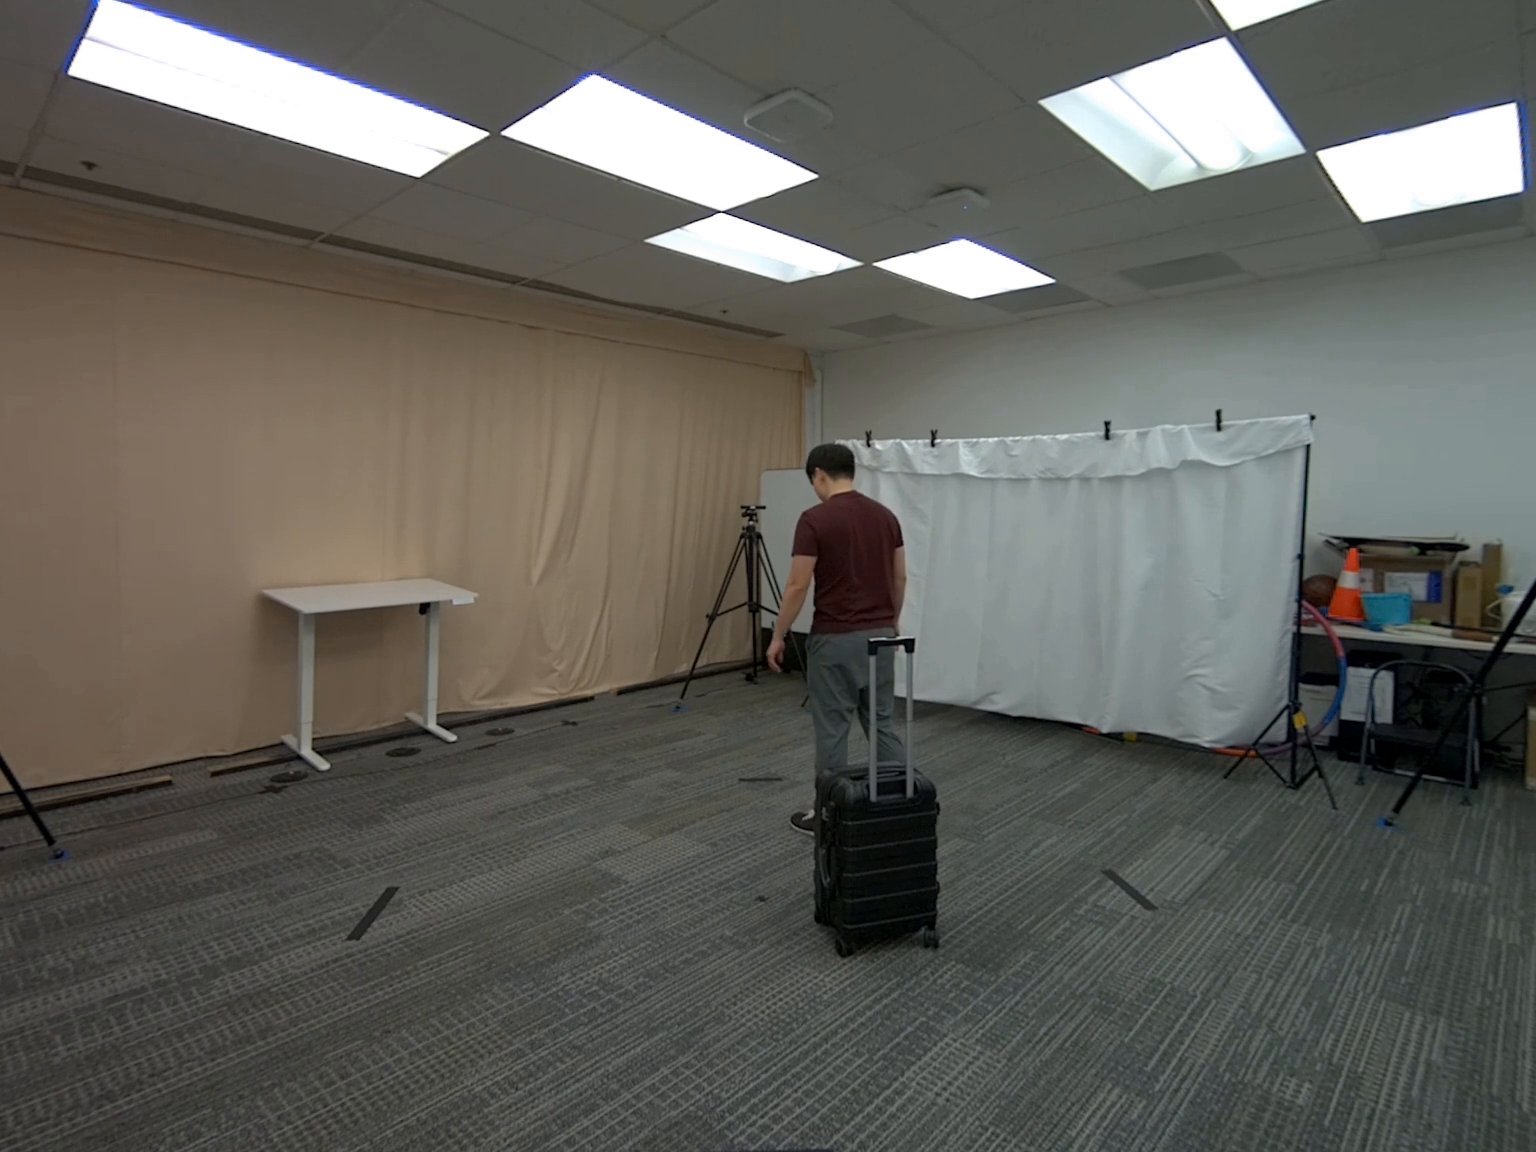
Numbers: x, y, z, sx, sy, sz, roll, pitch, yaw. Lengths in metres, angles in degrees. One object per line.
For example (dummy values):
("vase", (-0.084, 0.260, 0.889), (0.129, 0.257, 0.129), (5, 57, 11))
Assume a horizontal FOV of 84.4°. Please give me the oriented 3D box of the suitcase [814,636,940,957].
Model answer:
("suitcase", (0.344, 0.691, 2.707), (0.379, 0.976, 0.261), (-1, 3, -13))
